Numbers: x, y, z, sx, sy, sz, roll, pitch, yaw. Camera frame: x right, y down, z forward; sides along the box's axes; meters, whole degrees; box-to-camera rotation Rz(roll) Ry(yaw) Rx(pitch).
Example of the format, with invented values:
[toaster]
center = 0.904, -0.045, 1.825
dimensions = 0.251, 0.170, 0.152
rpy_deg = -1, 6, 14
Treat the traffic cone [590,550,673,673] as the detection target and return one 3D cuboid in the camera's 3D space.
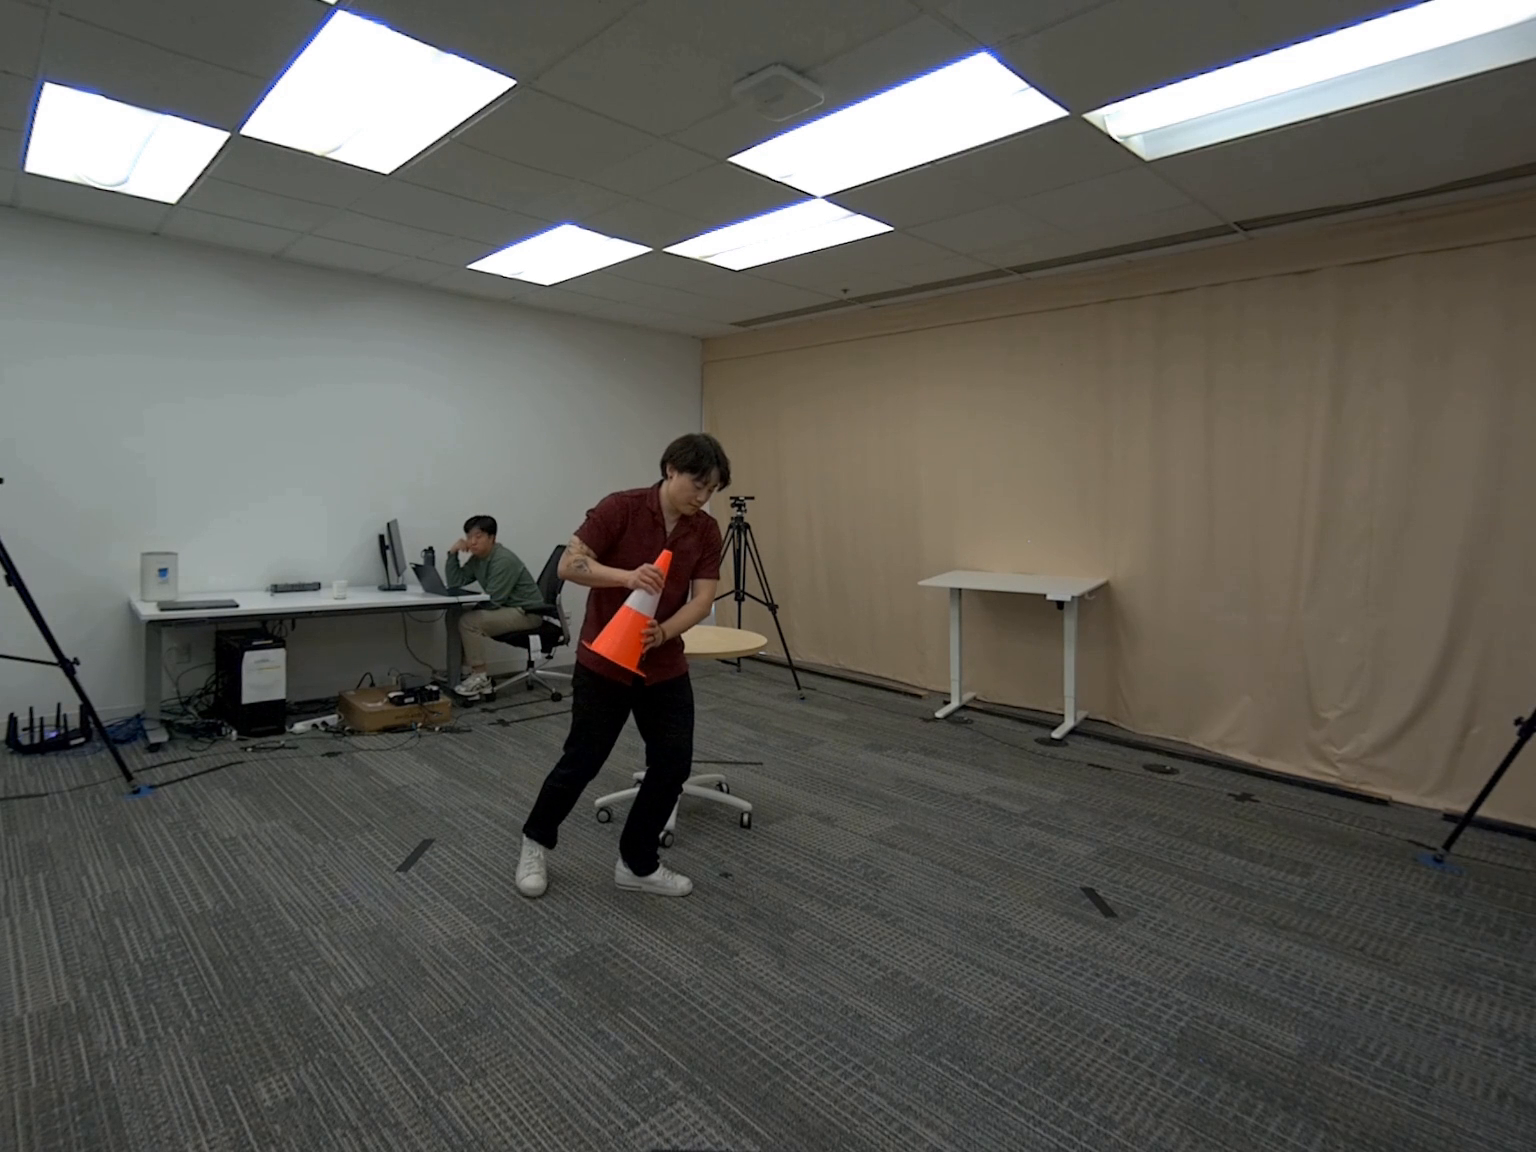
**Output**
[traffic cone]
center = -0.417, 0.094, 2.669
dimensions = 0.200, 0.384, 0.208
rpy_deg = 28, -5, -18
